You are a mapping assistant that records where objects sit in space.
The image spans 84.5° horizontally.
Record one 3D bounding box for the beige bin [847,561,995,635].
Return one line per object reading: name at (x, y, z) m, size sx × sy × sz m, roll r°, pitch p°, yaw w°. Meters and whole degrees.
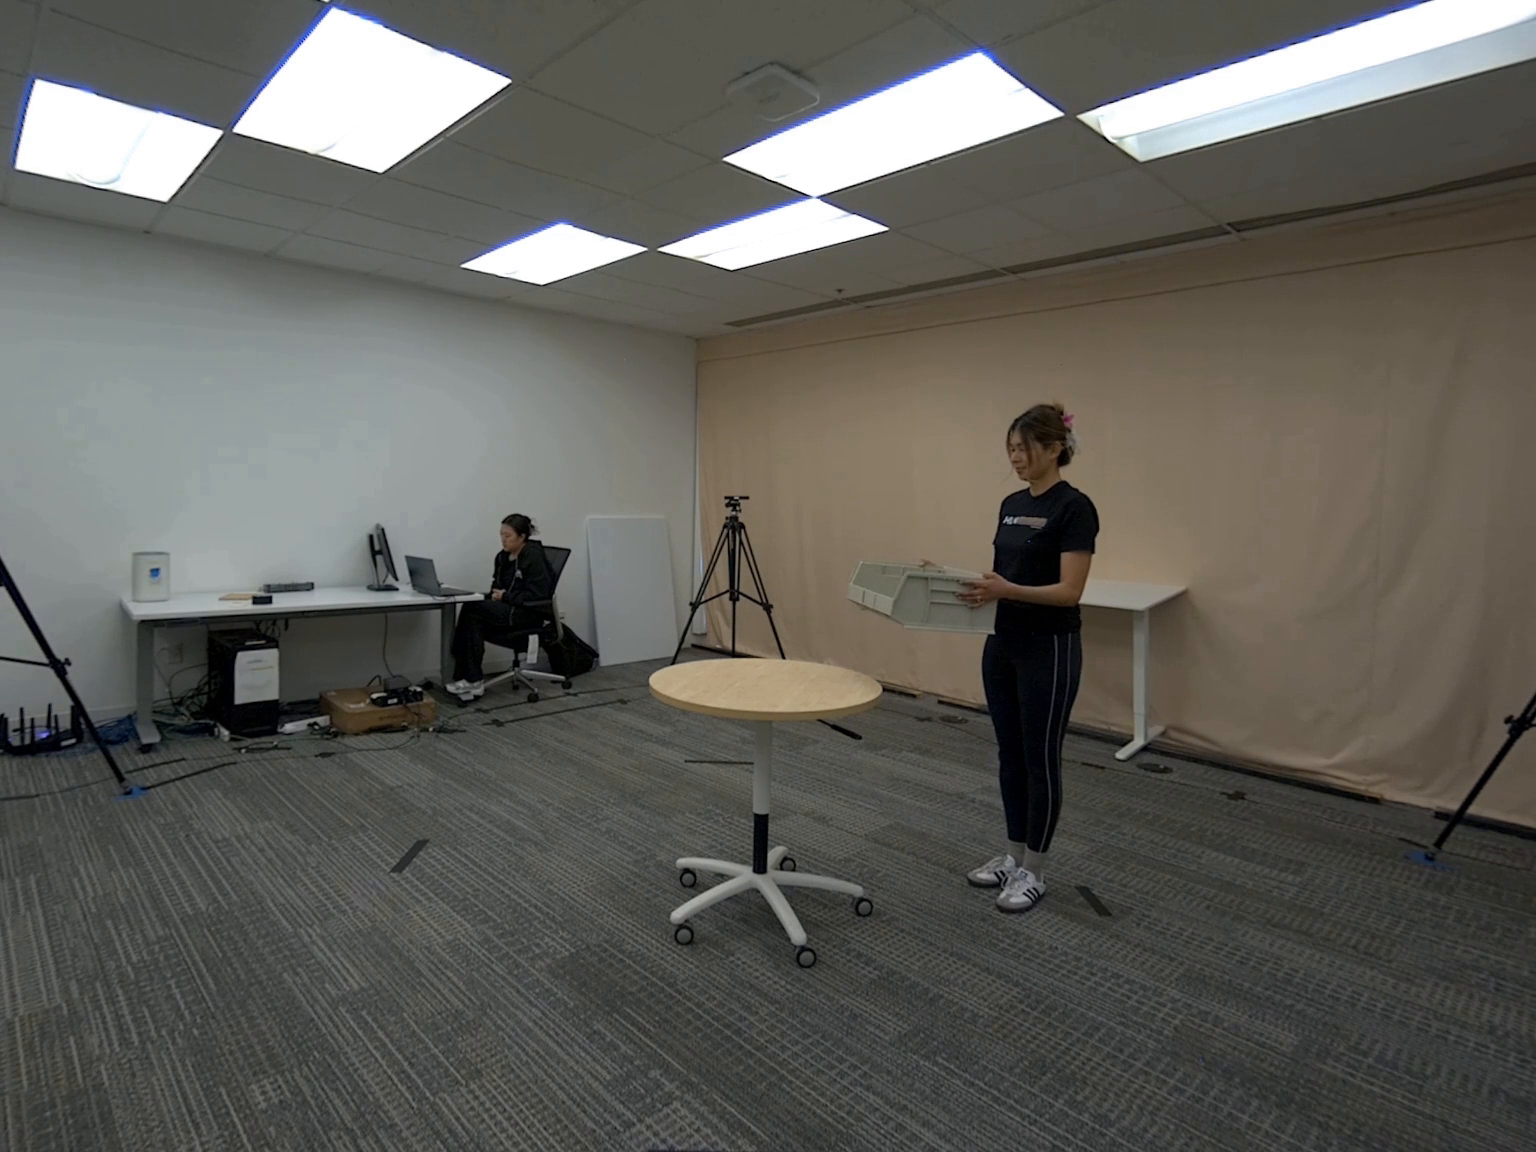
beige bin at (0.505, 0.067, 2.853) m, size 0.372 × 0.188 × 0.429 m, roll 5°, pitch 4°, yaw -16°
